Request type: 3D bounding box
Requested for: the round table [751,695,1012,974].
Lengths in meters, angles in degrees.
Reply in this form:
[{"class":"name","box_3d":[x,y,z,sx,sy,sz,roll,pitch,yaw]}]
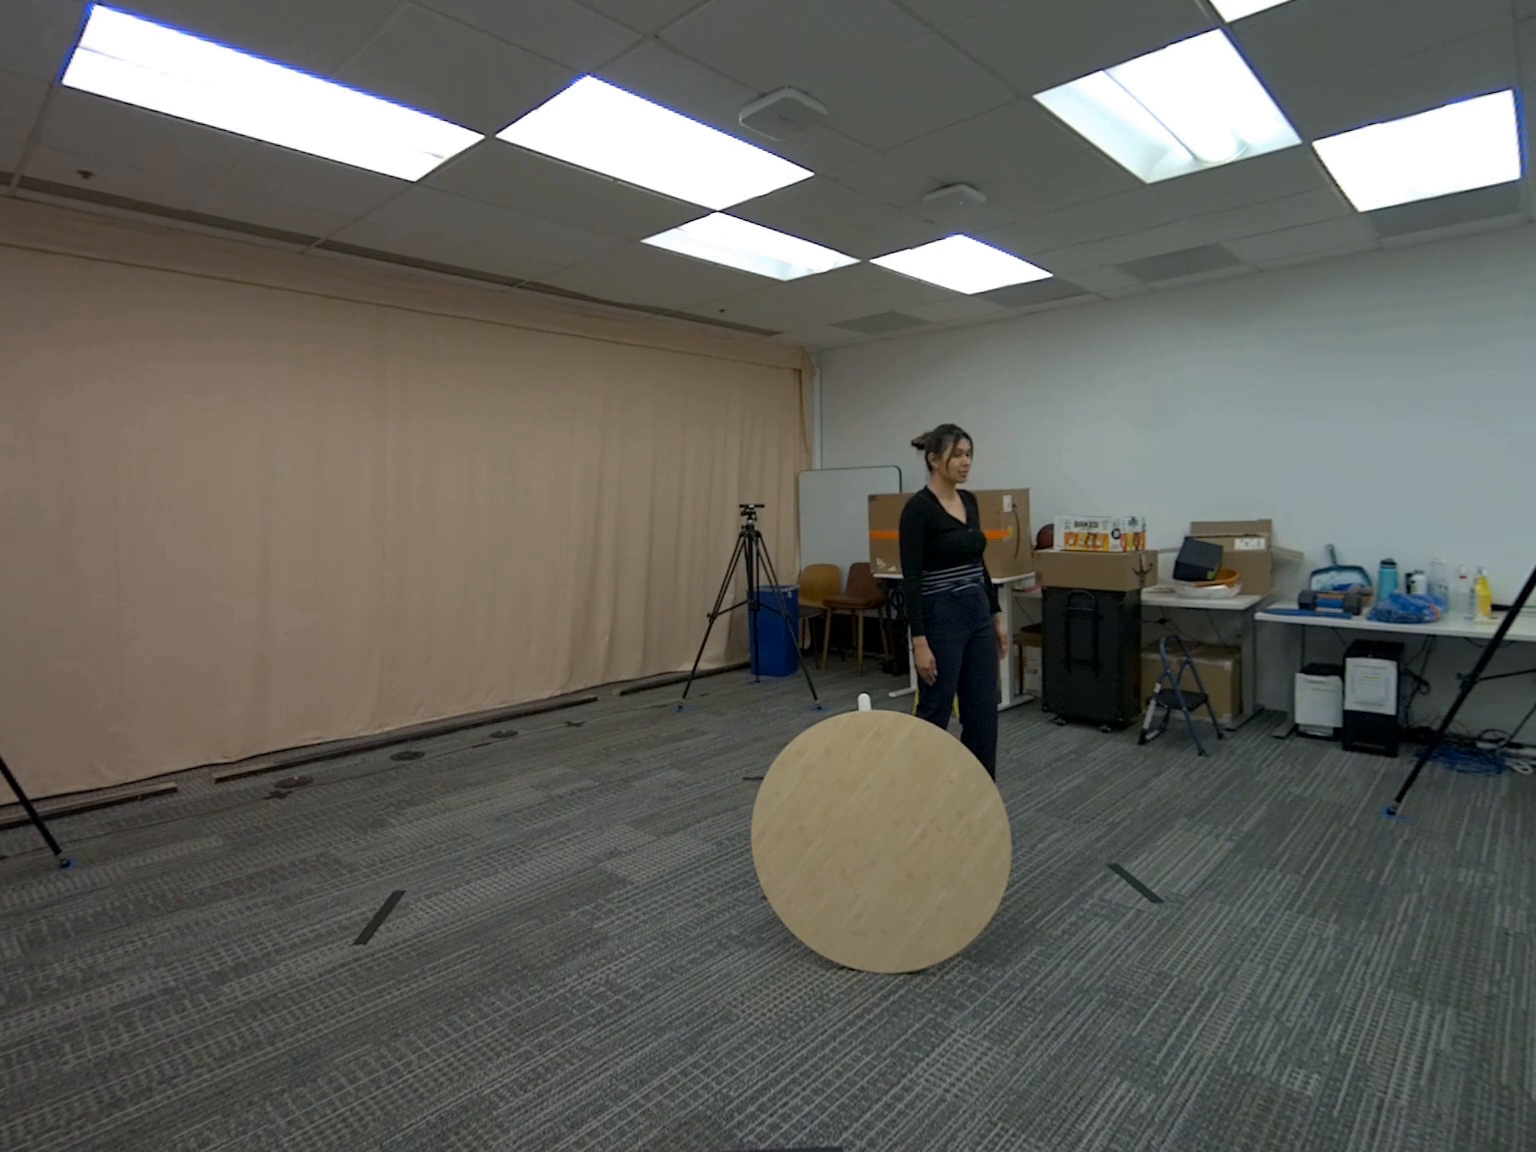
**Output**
[{"class":"round table","box_3d":[0.368,0.799,2.904,0.770,0.765,0.786,0,-2,7]}]
